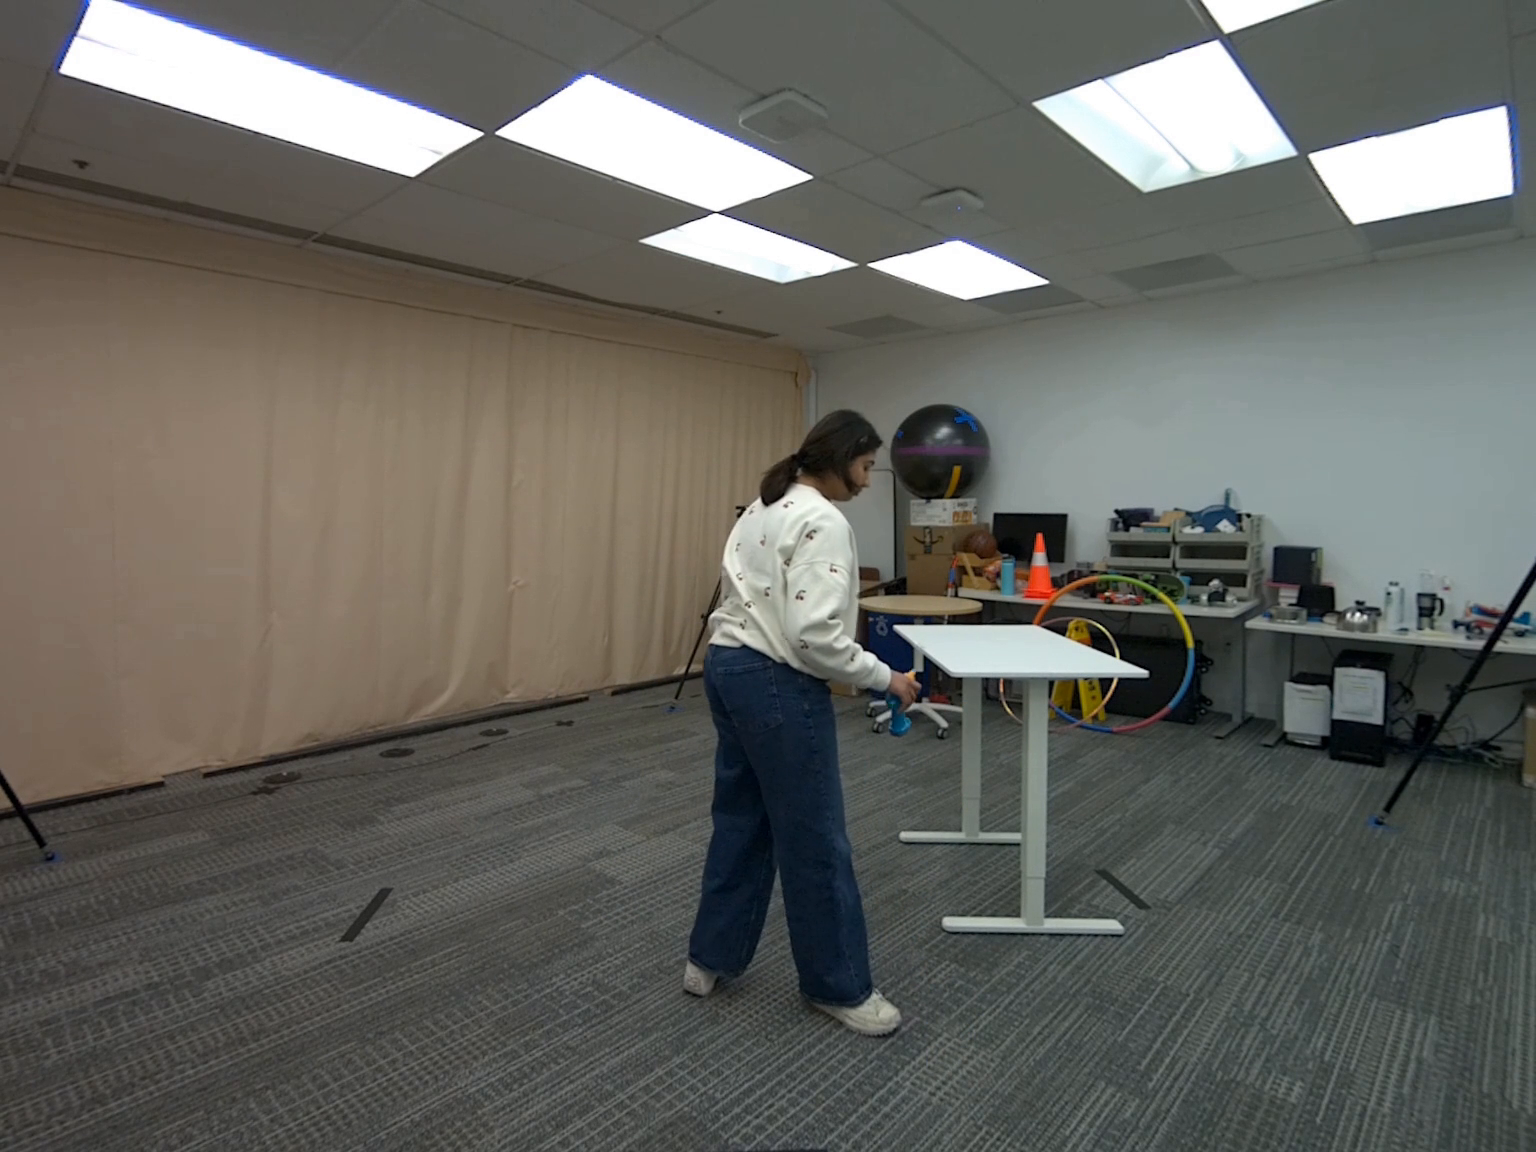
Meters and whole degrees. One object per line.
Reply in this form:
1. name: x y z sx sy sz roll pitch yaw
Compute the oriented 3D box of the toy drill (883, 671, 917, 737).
1. toy drill: 0.375 0.337 2.285 0.063 0.143 0.168 6 32 31
